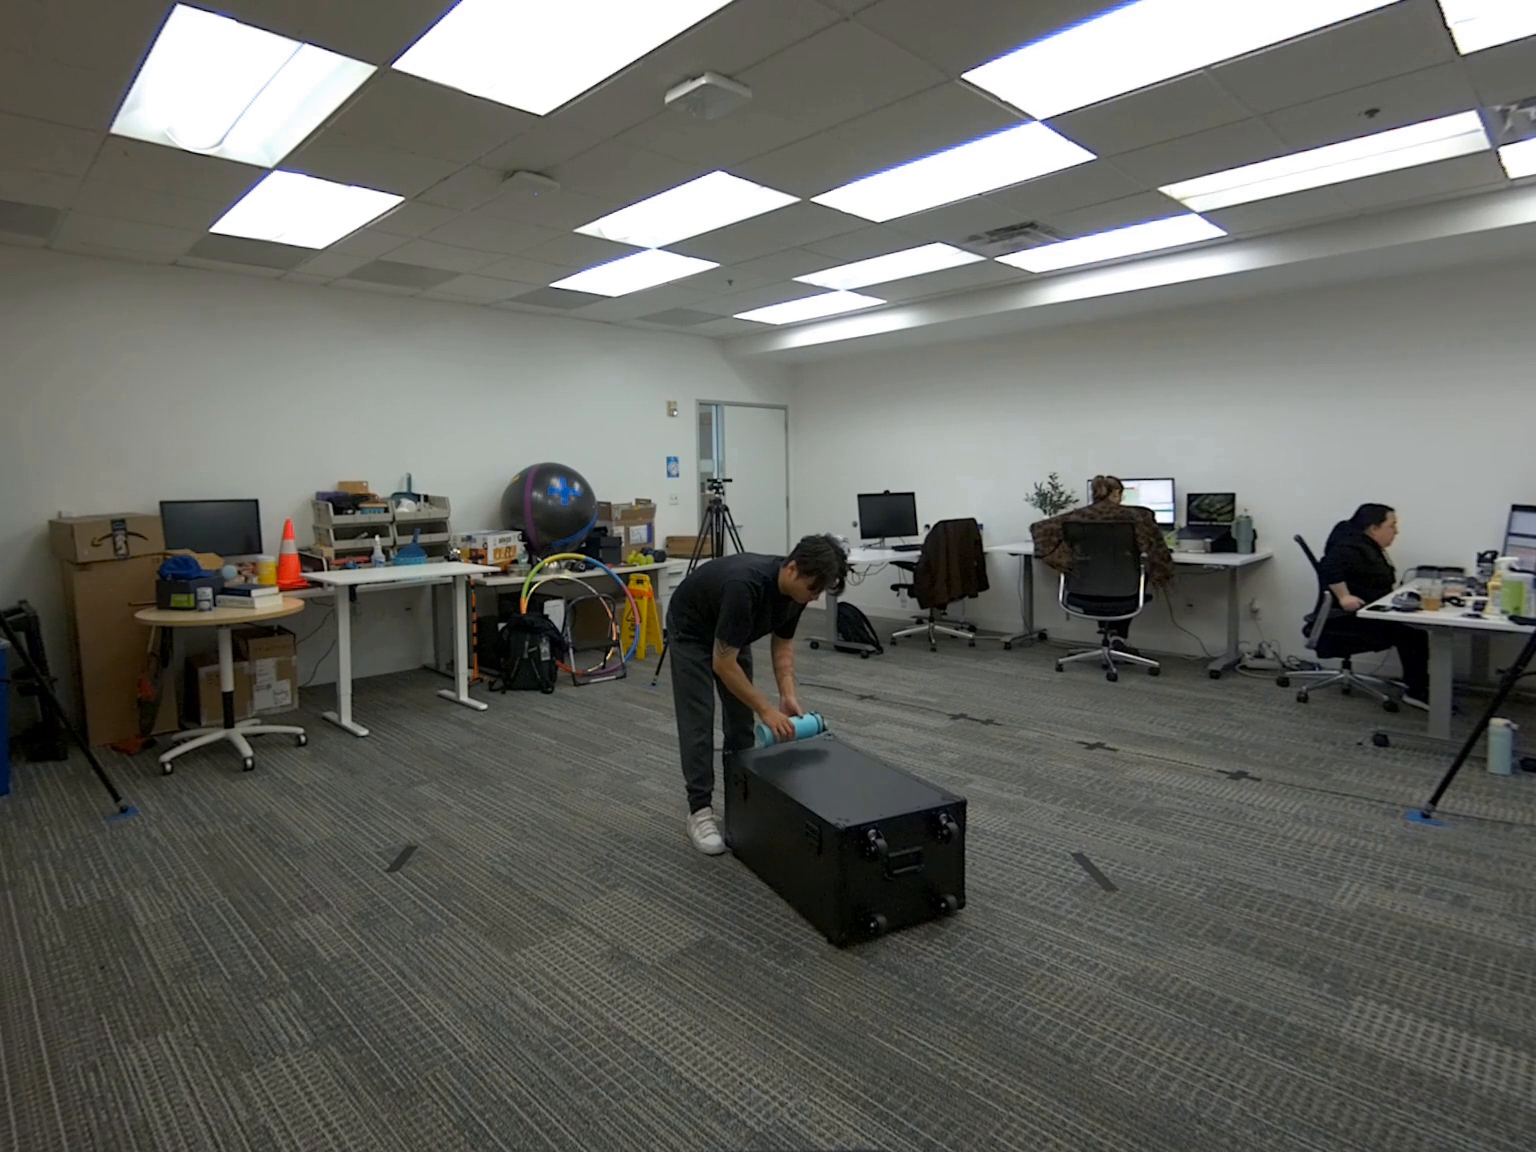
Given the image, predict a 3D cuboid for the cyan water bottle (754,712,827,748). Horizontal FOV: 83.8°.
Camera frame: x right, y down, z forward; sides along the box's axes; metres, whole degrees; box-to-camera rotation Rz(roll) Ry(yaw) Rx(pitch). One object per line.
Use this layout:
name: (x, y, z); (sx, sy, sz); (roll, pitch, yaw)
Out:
cyan water bottle: (0.104, 0.579, 3.224); (0.278, 0.092, 0.094); (-8, 7, -24)
